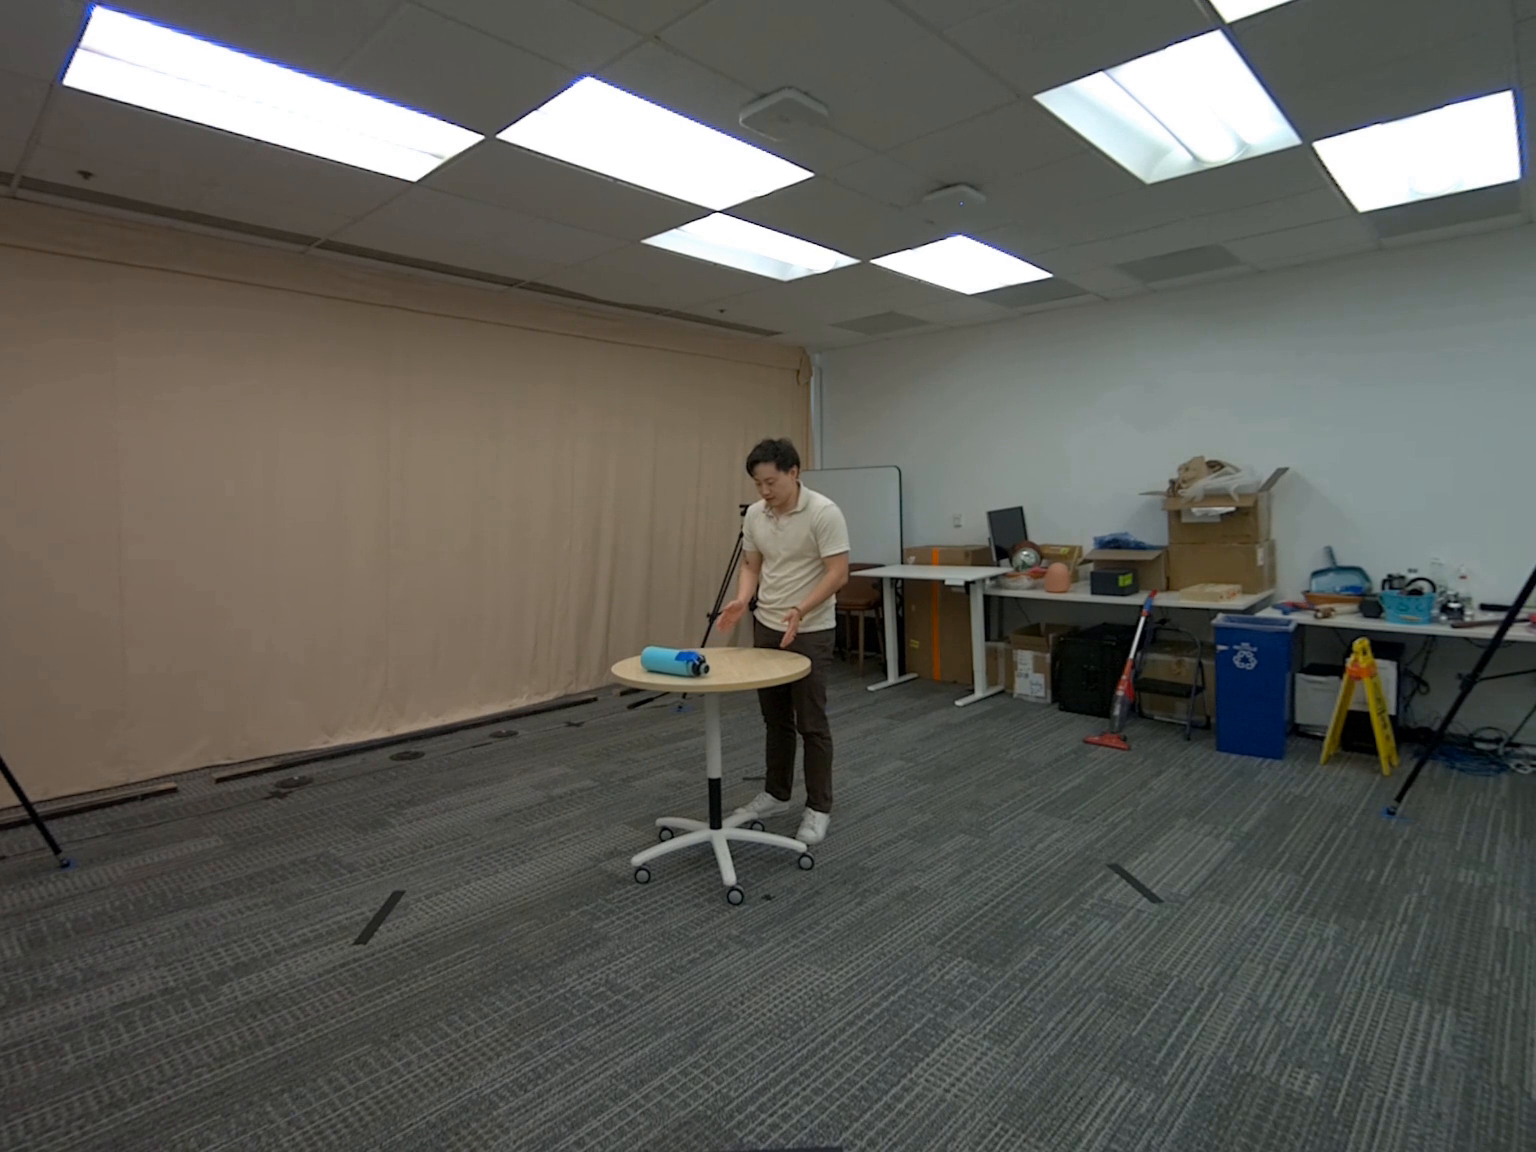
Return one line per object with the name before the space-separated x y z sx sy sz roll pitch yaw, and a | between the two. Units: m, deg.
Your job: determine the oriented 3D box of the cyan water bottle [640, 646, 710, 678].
cyan water bottle | -0.333 0.312 3.055 0.292 0.092 0.089 2 5 40
